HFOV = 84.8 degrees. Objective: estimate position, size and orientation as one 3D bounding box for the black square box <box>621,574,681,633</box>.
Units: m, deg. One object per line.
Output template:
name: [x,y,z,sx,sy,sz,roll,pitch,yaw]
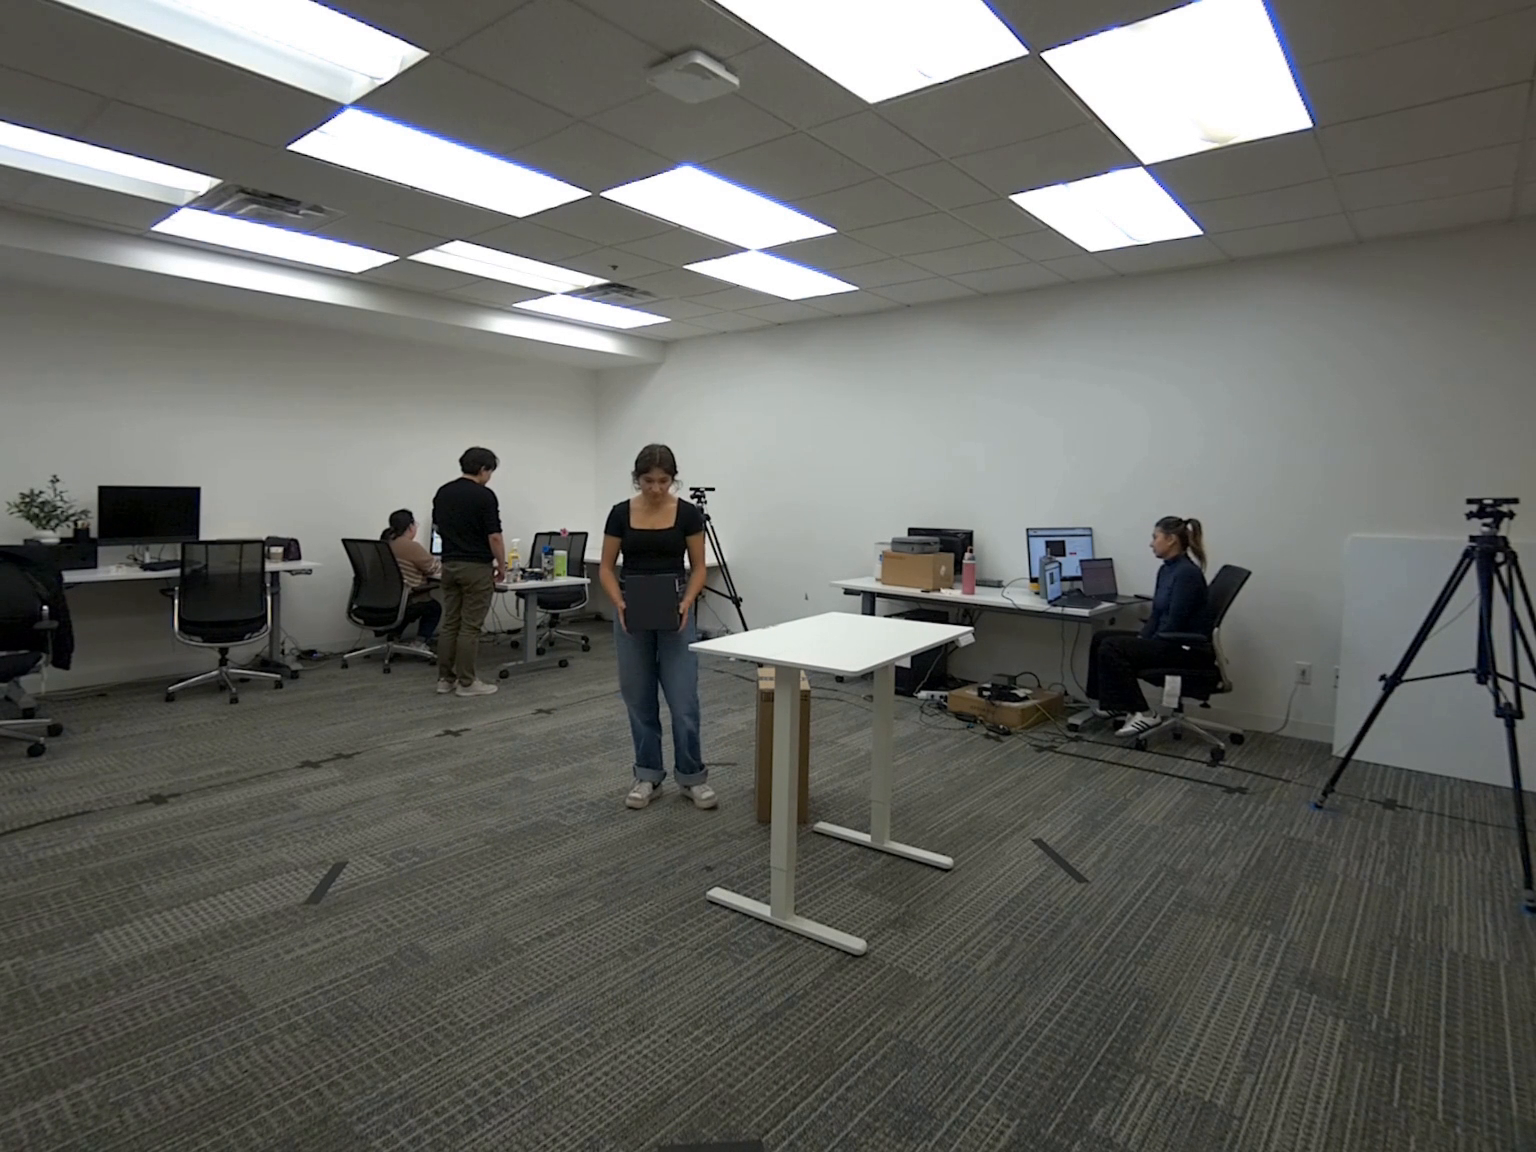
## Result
black square box: [-0.476,0.098,3.524,0.217,0.228,0.155,0,-3,0]
